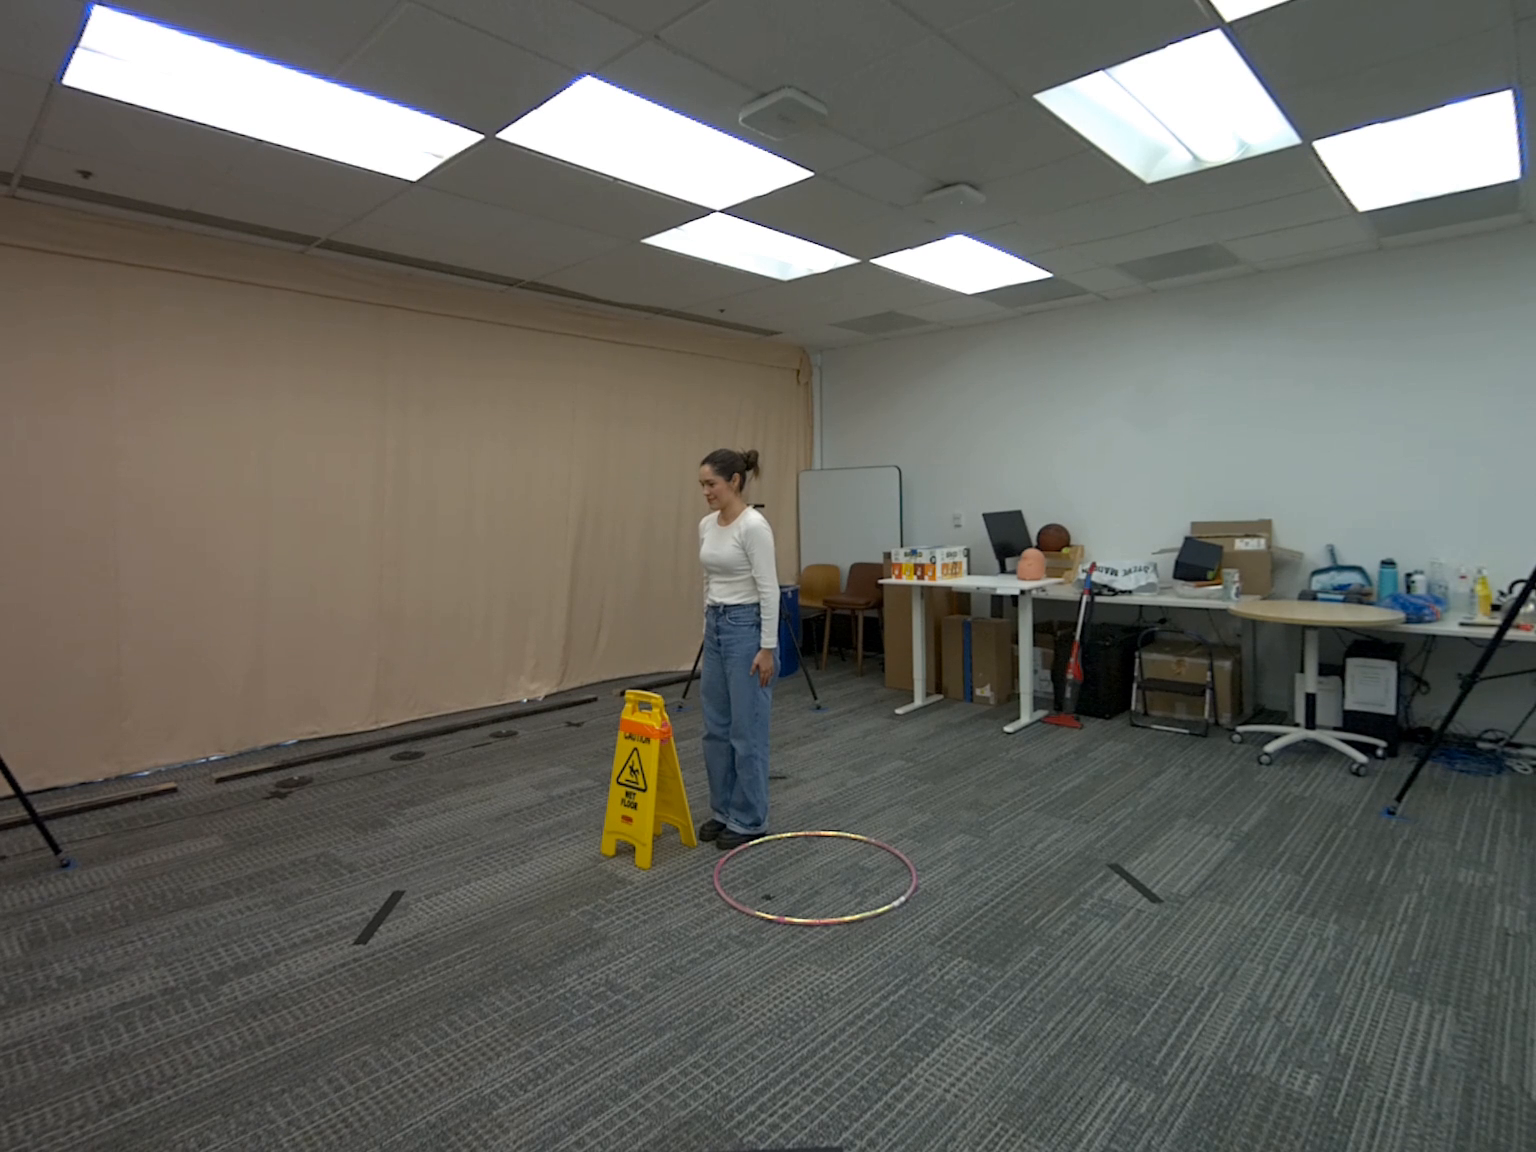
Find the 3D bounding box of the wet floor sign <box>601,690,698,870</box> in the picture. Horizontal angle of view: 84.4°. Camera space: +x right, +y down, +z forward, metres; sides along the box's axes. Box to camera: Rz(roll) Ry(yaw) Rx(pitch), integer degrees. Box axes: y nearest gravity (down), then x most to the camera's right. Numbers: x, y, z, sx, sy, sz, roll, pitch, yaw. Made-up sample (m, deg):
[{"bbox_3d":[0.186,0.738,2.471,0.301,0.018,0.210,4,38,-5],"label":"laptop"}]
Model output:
[{"bbox_3d":[-0.487,0.788,3.404,0.291,0.645,0.281,0,4,40],"label":"wet floor sign"}]
